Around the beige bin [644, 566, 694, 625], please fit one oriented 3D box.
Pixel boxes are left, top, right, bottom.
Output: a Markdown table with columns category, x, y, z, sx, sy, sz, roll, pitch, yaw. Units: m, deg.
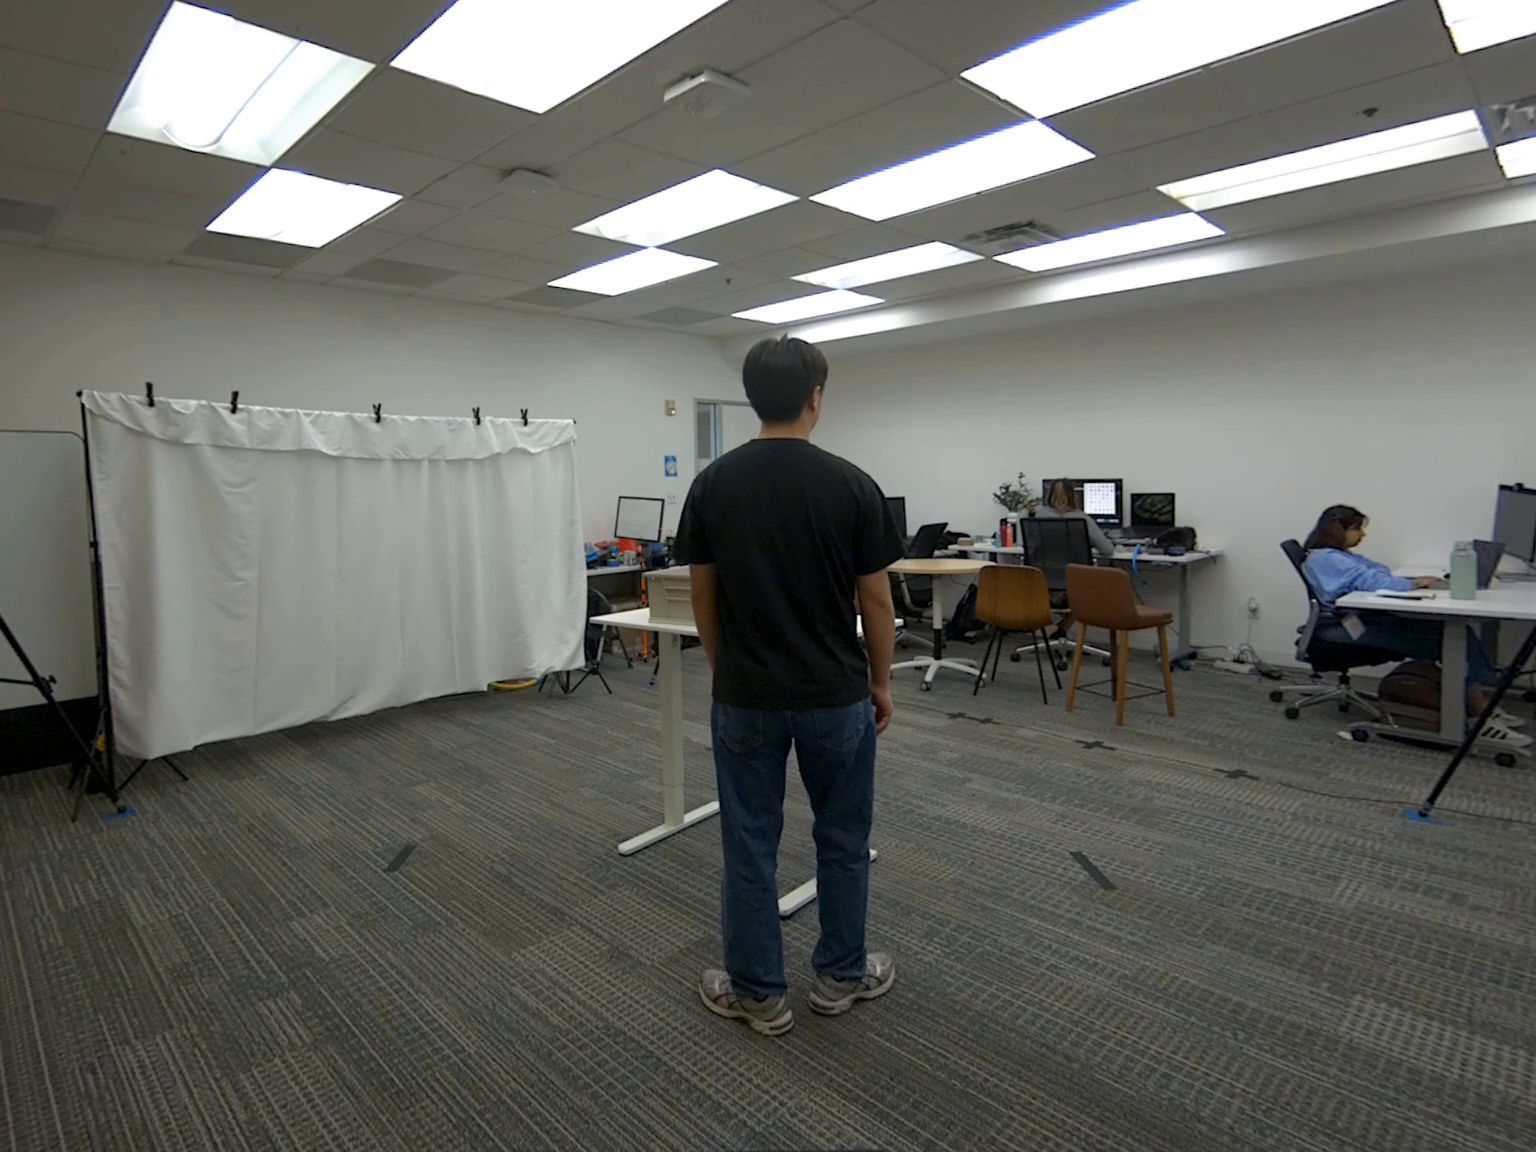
| category | x | y | z | sx | sy | sz | roll | pitch | yaw |
| --- | --- | --- | --- | --- | --- | --- | --- | --- | --- |
| beige bin | -0.187 | 0.068 | 3.169 | 0.386 | 0.188 | 0.414 | 0 | 6 | 27 |
